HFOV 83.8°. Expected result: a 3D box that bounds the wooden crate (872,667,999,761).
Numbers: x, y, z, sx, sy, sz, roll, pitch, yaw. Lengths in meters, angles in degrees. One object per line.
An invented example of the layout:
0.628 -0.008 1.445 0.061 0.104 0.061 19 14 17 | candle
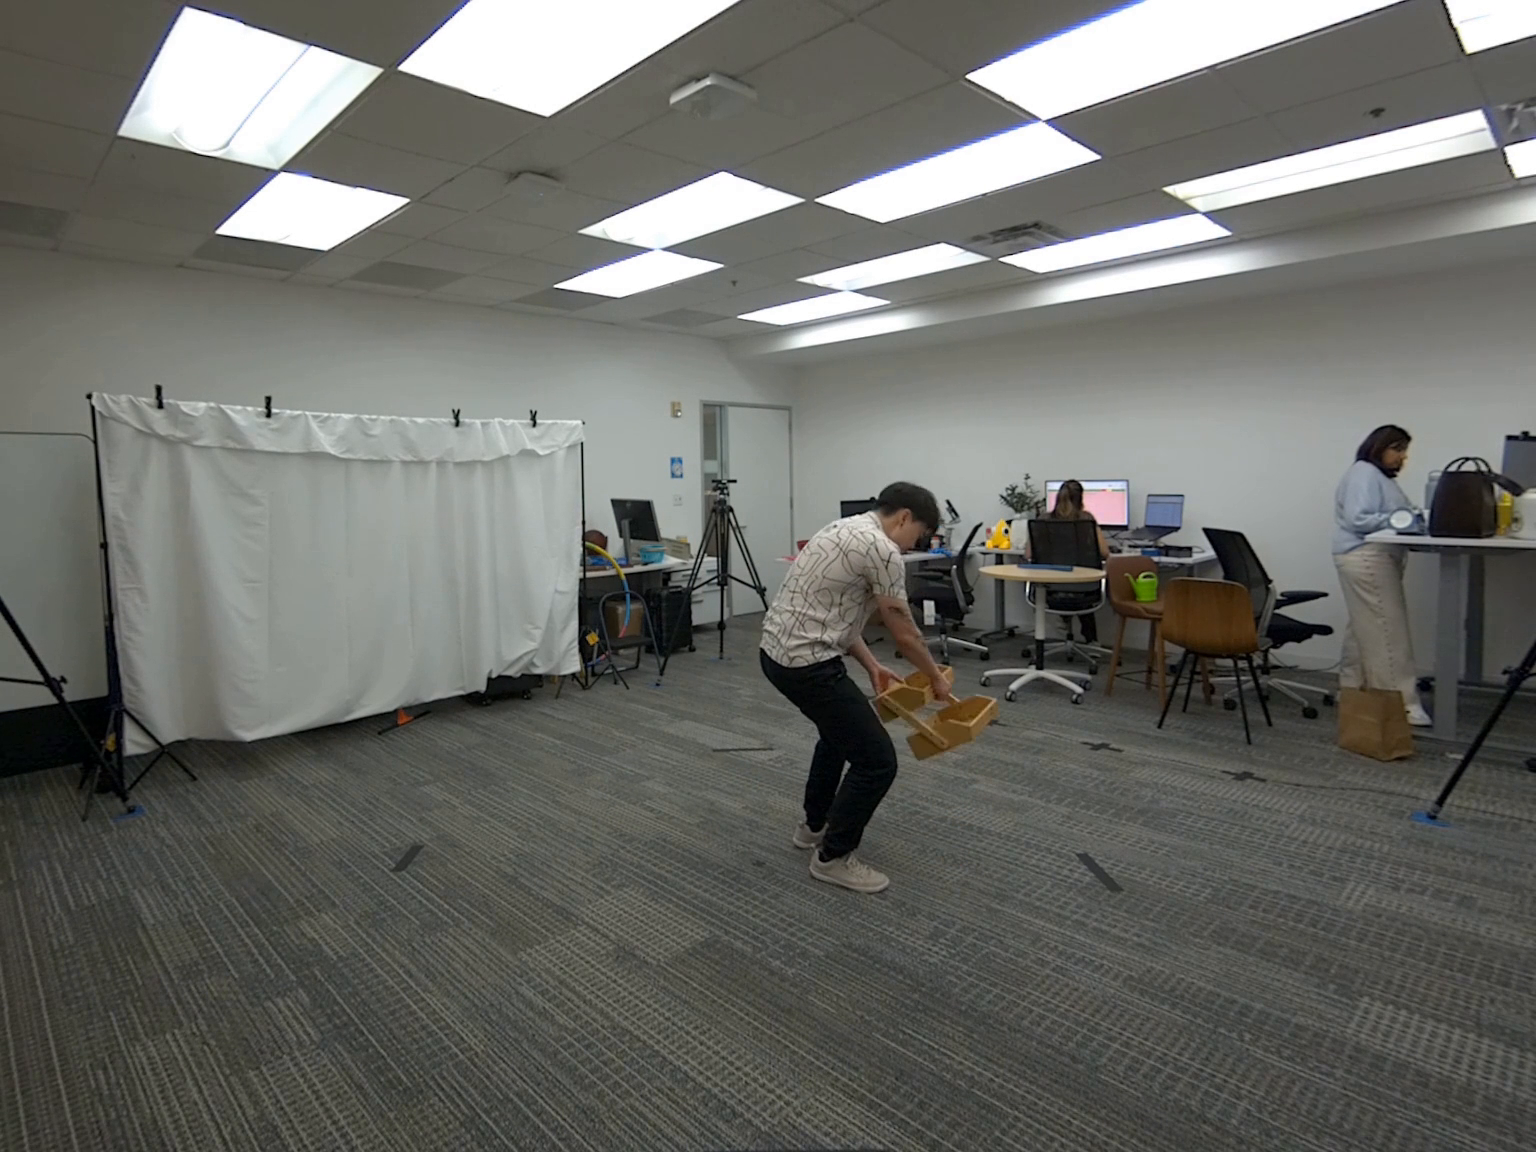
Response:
0.616 0.473 3.137 0.304 0.276 0.318 -34 -9 32 | wooden crate
